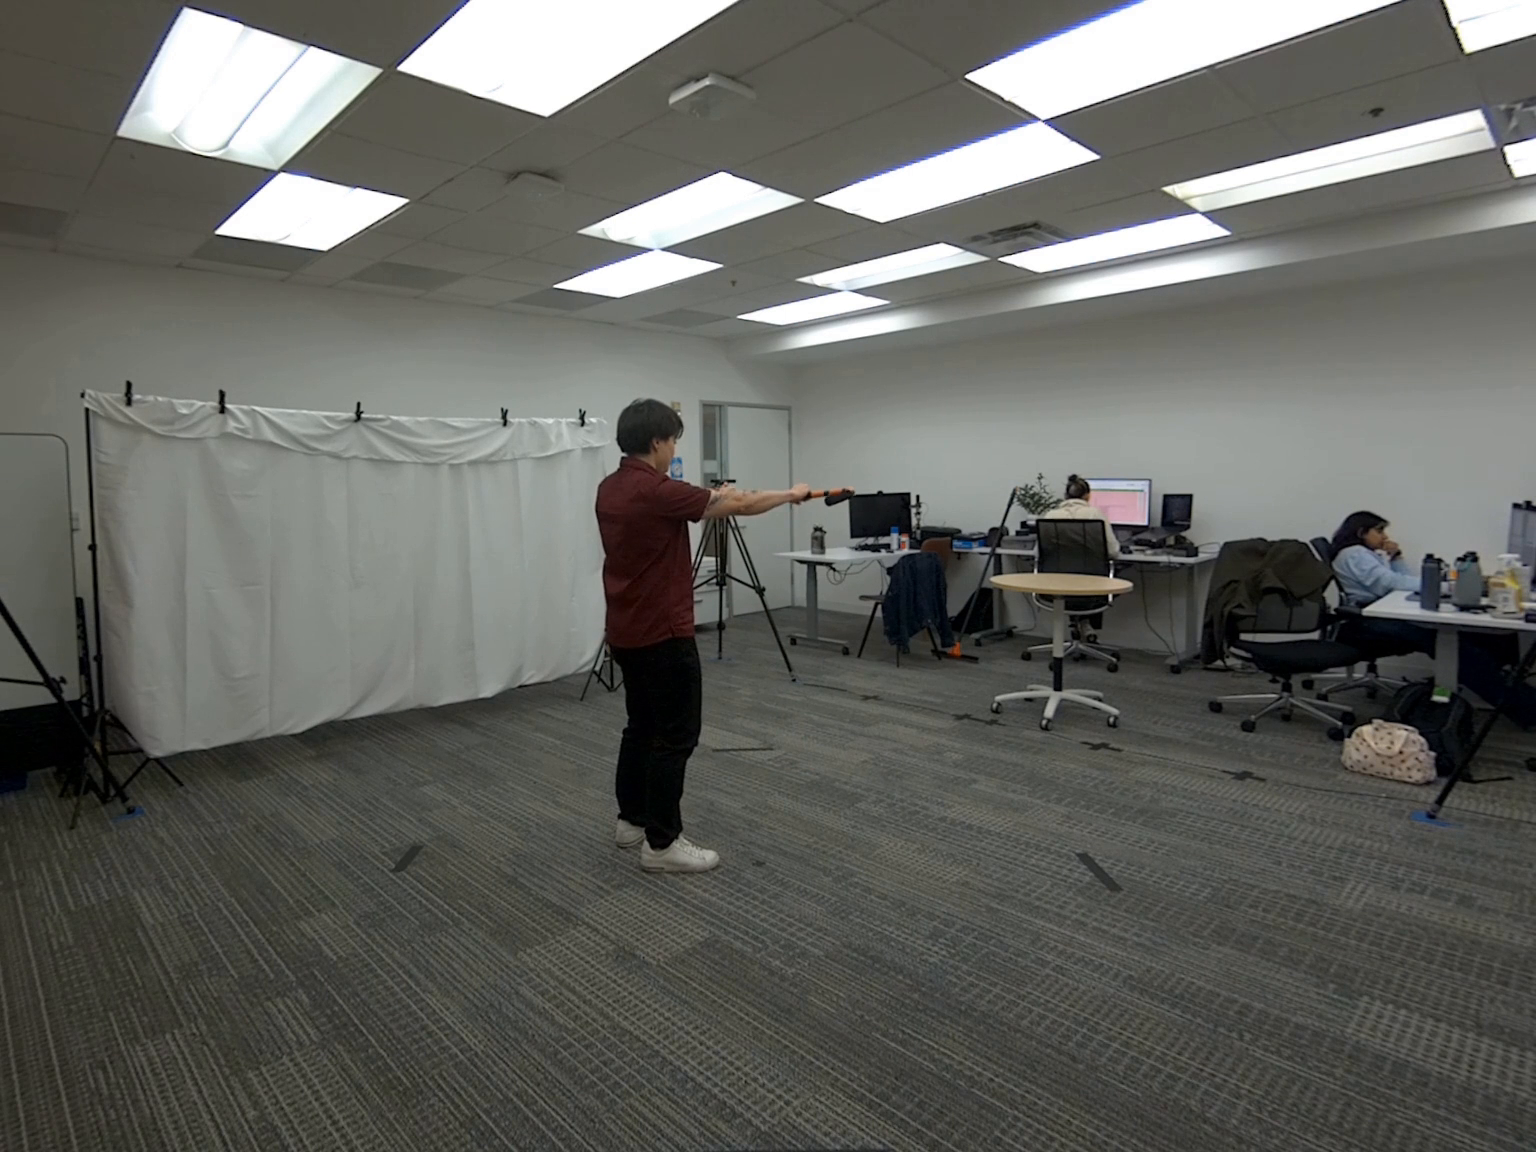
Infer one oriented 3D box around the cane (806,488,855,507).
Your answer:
[{"bbox_3d":[0.025,-0.300,3.409,0.203,0.150,0.935,-18,14,-35],"label":"cane"}]
